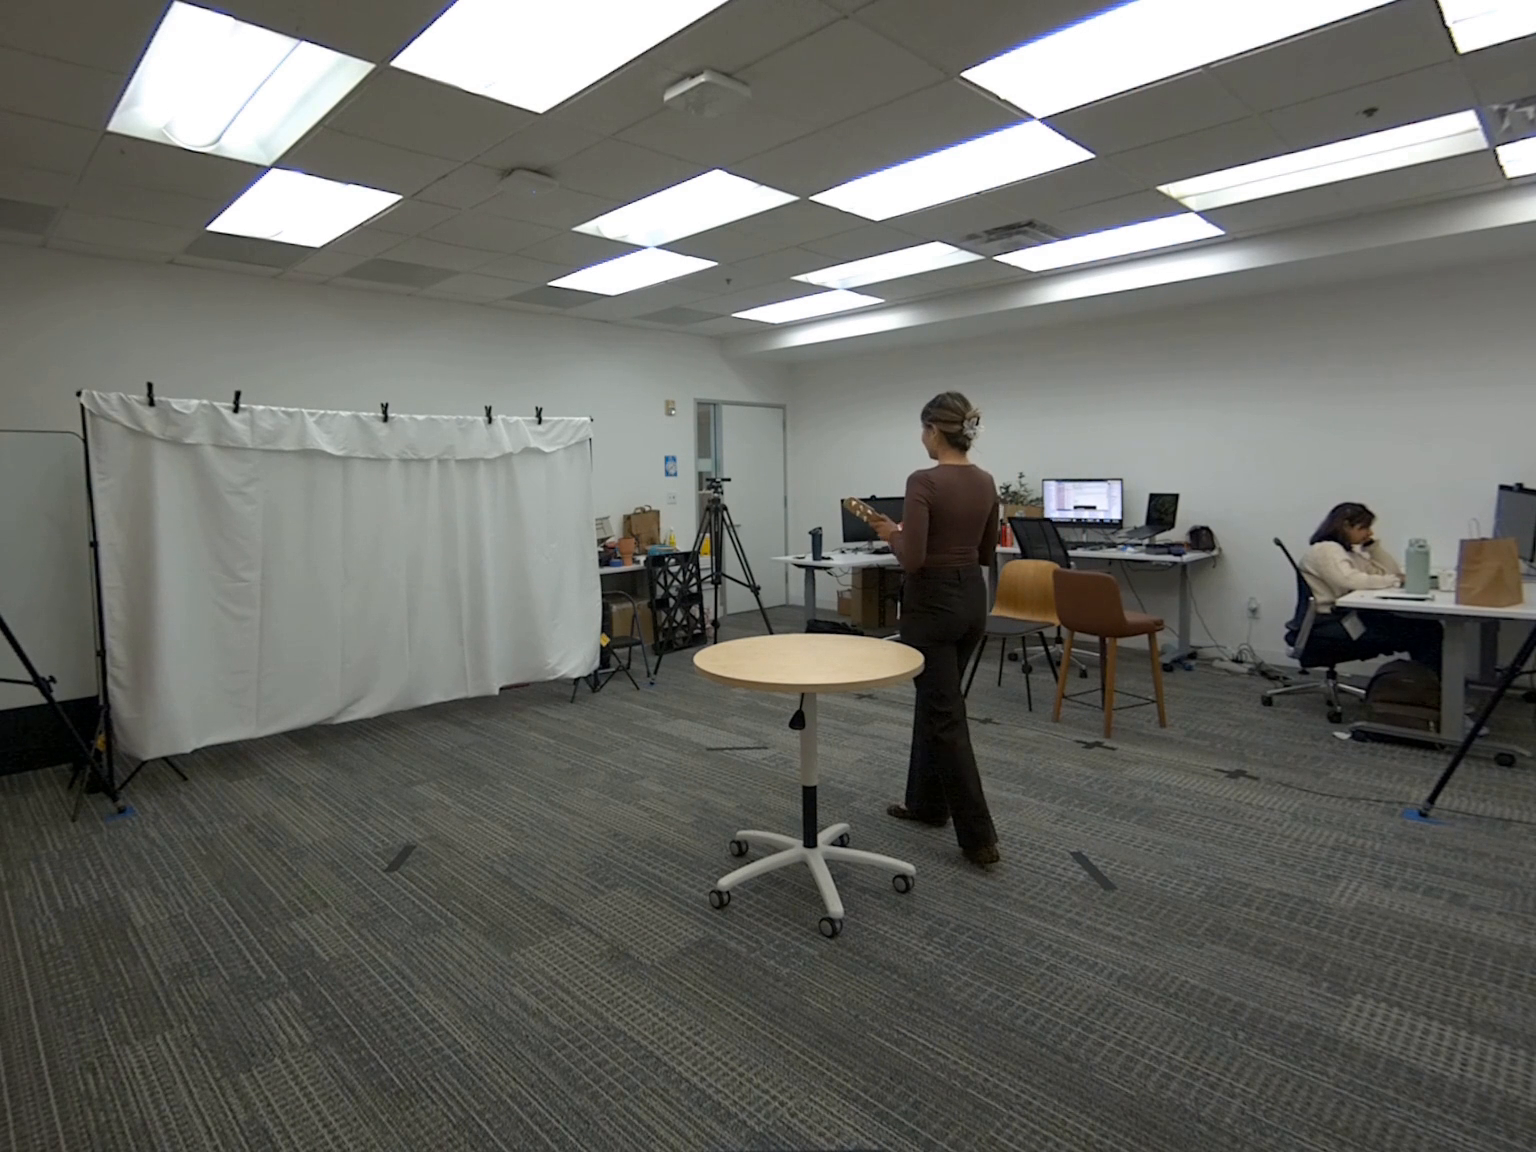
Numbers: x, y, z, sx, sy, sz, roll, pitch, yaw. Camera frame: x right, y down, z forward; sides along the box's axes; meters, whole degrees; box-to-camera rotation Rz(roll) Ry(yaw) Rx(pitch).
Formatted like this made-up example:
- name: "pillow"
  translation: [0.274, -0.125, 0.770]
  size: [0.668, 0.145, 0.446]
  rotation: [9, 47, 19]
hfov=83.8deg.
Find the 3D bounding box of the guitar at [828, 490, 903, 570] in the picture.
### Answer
- name: "guitar"
  translation: [0.506, -0.147, 3.379]
  size: [0.493, 0.191, 0.072]
  rotation: [23, 23, -7]
